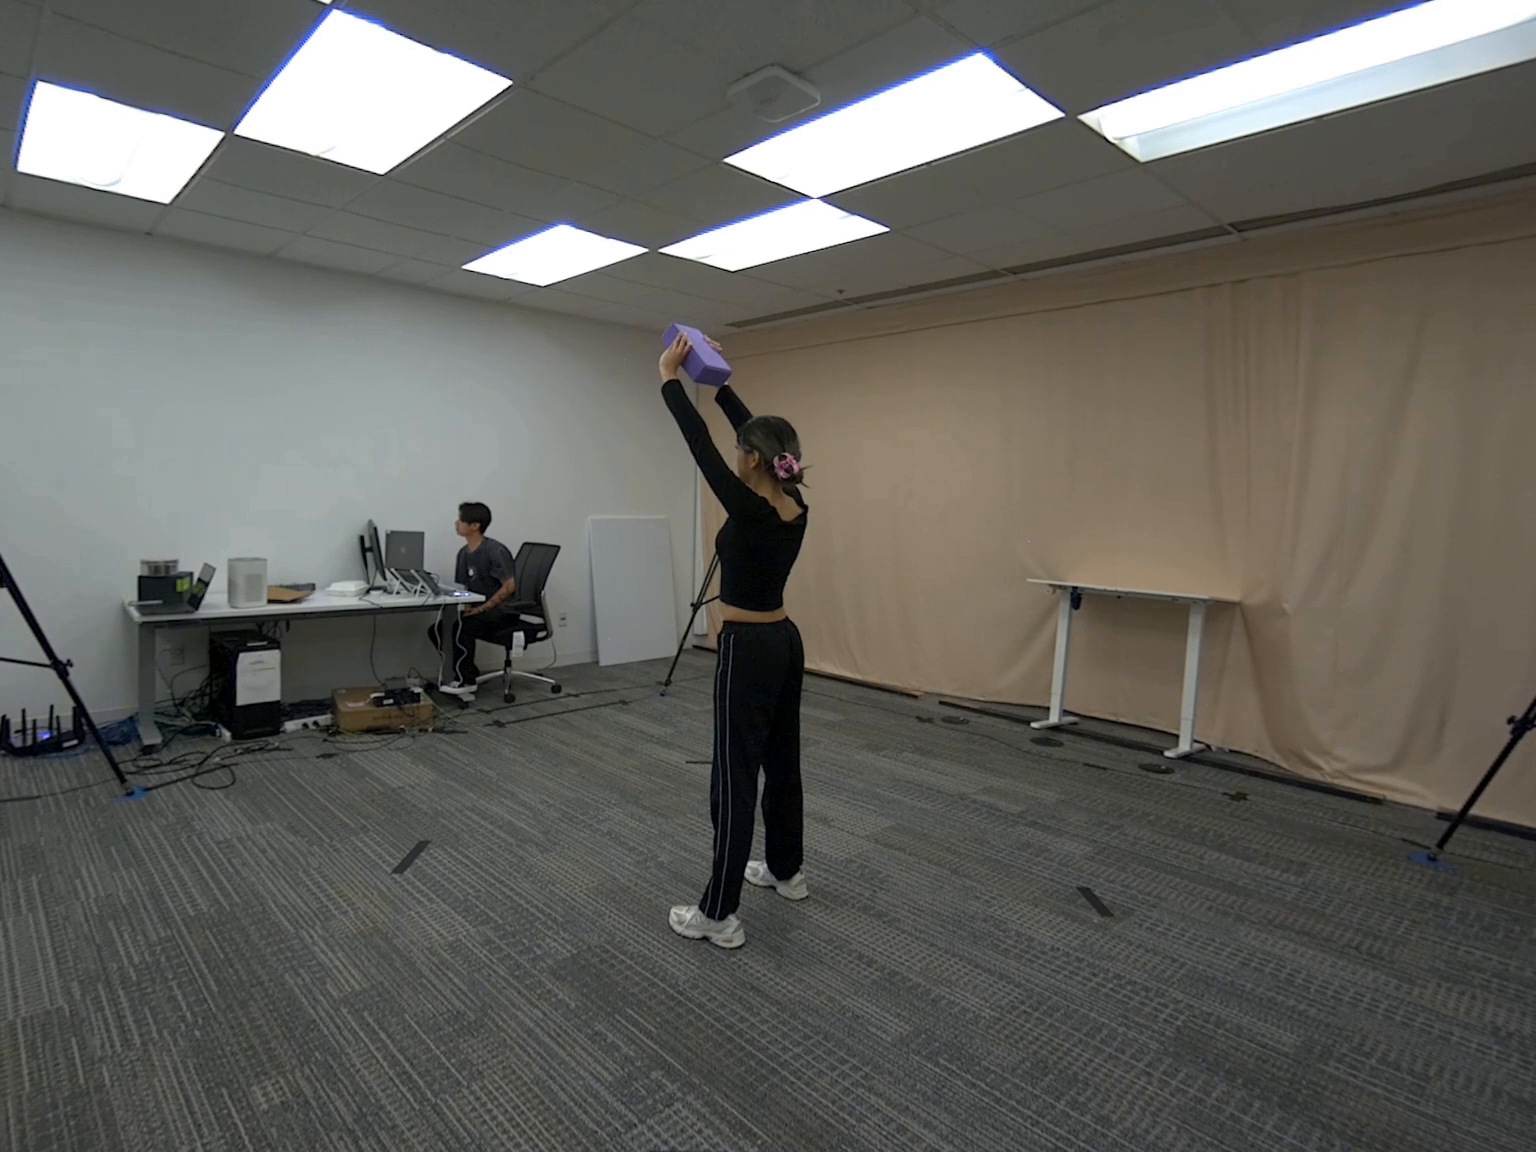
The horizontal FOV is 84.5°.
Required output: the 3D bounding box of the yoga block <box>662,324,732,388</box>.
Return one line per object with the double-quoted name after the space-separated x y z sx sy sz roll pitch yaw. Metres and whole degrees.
-0.253 -0.743 2.840 0.146 0.076 0.235 -3 49 -53 "yoga block"
